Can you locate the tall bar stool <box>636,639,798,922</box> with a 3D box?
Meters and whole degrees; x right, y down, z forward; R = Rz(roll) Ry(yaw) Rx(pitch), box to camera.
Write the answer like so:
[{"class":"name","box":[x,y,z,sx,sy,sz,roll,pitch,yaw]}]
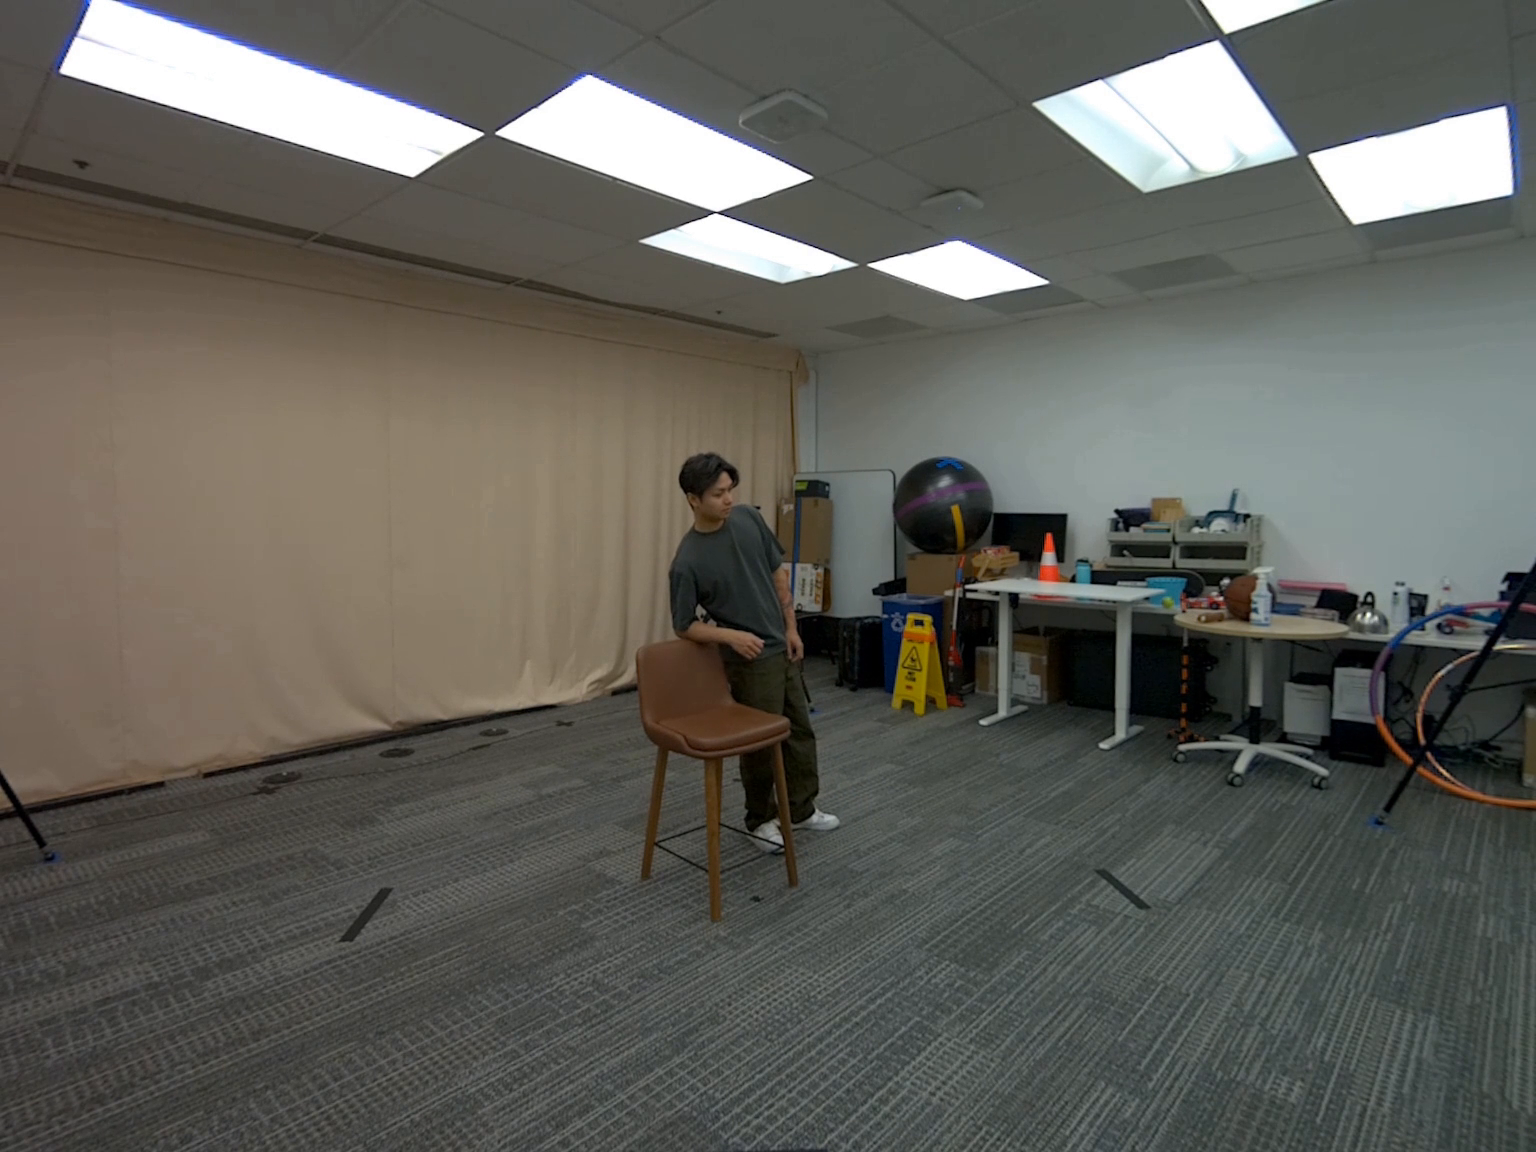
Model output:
[{"class":"tall bar stool","box":[-0.201,0.699,3.095,0.442,0.889,0.482,-3,2,-43]}]
